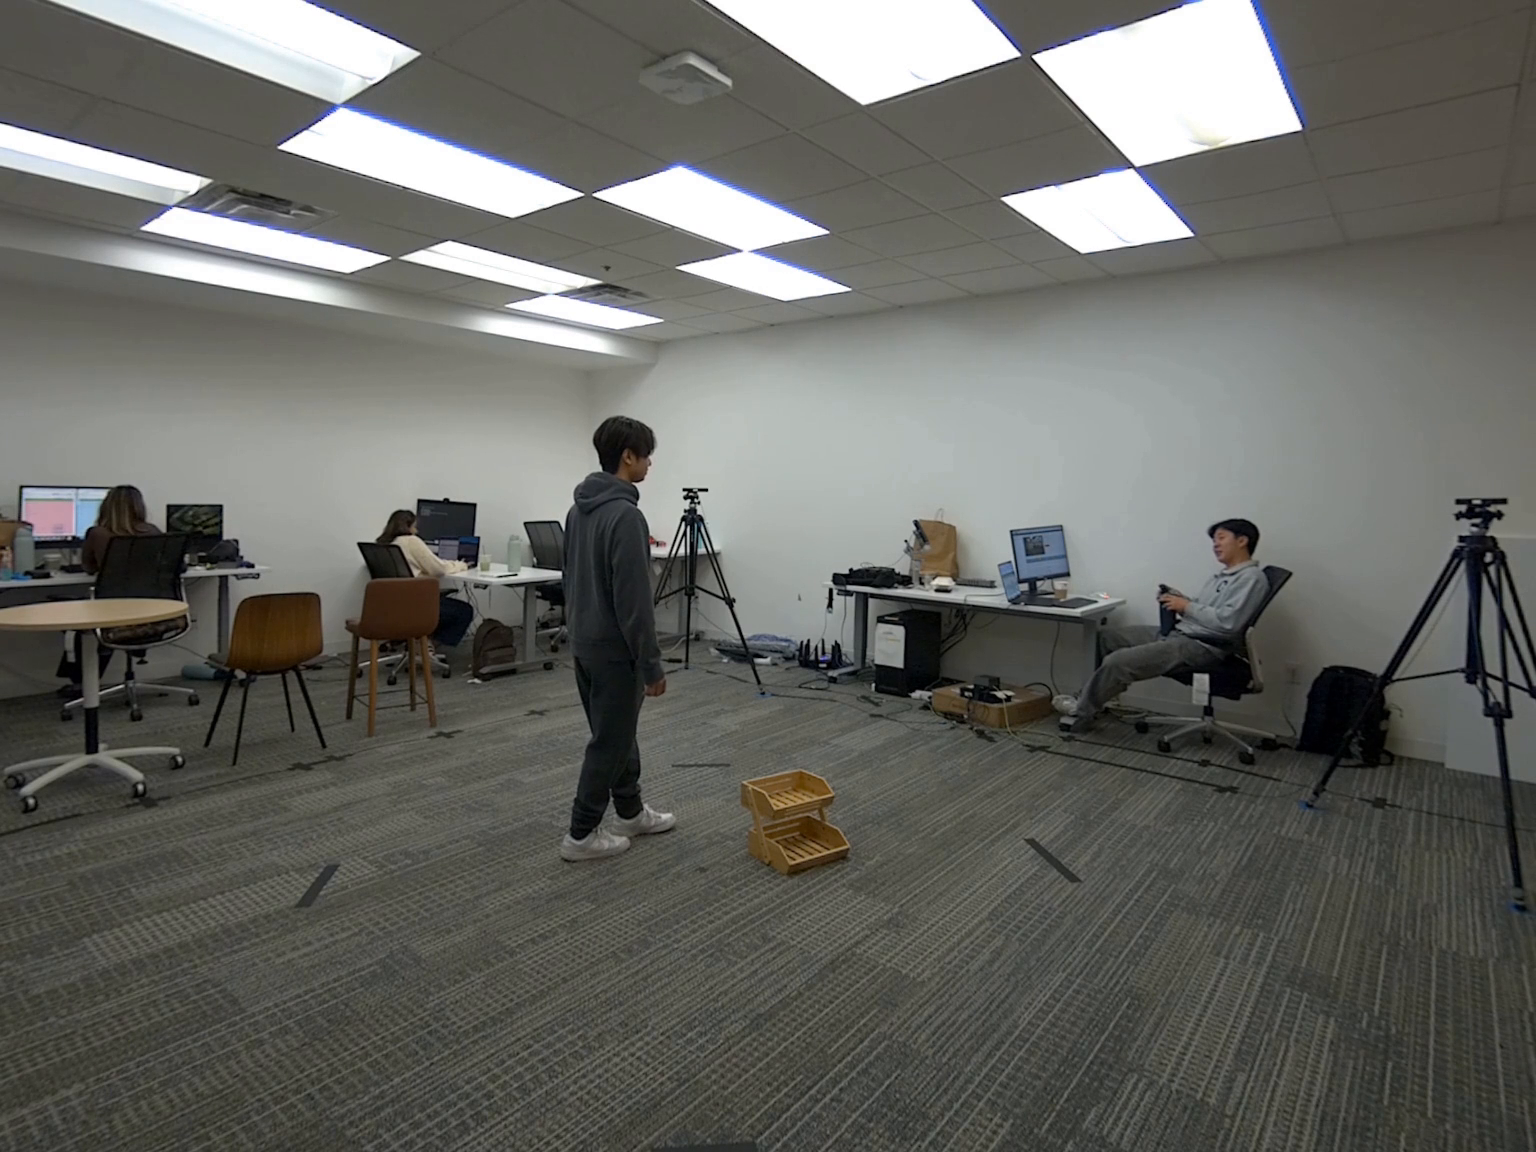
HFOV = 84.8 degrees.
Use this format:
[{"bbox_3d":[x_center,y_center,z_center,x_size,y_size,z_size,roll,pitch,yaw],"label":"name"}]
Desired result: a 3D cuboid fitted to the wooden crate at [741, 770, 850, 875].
[{"bbox_3d":[0.097,0.930,3.255,0.315,0.272,0.312,-2,5,-37],"label":"wooden crate"}]
